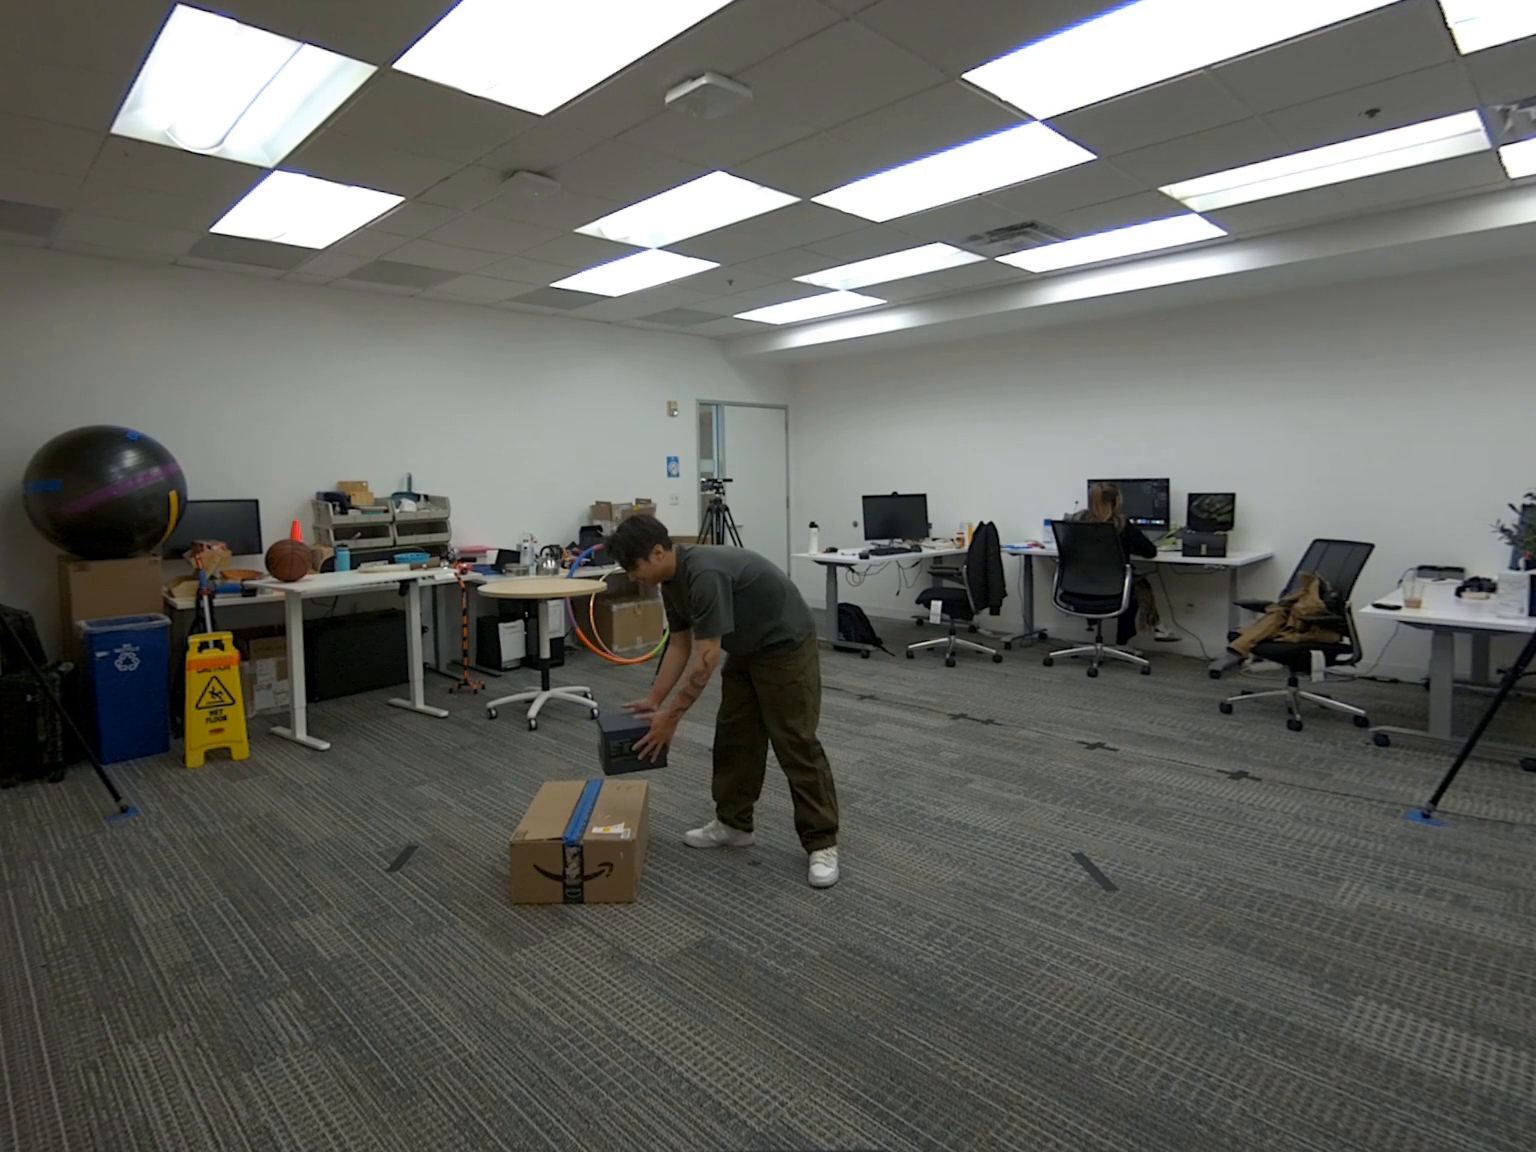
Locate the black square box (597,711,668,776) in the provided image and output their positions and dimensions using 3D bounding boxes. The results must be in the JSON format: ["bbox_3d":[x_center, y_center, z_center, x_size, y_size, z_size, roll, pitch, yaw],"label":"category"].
[{"bbox_3d":[-0.486,0.585,3.042,0.214,0.155,0.232,-5,6,-15],"label":"black square box"}]
